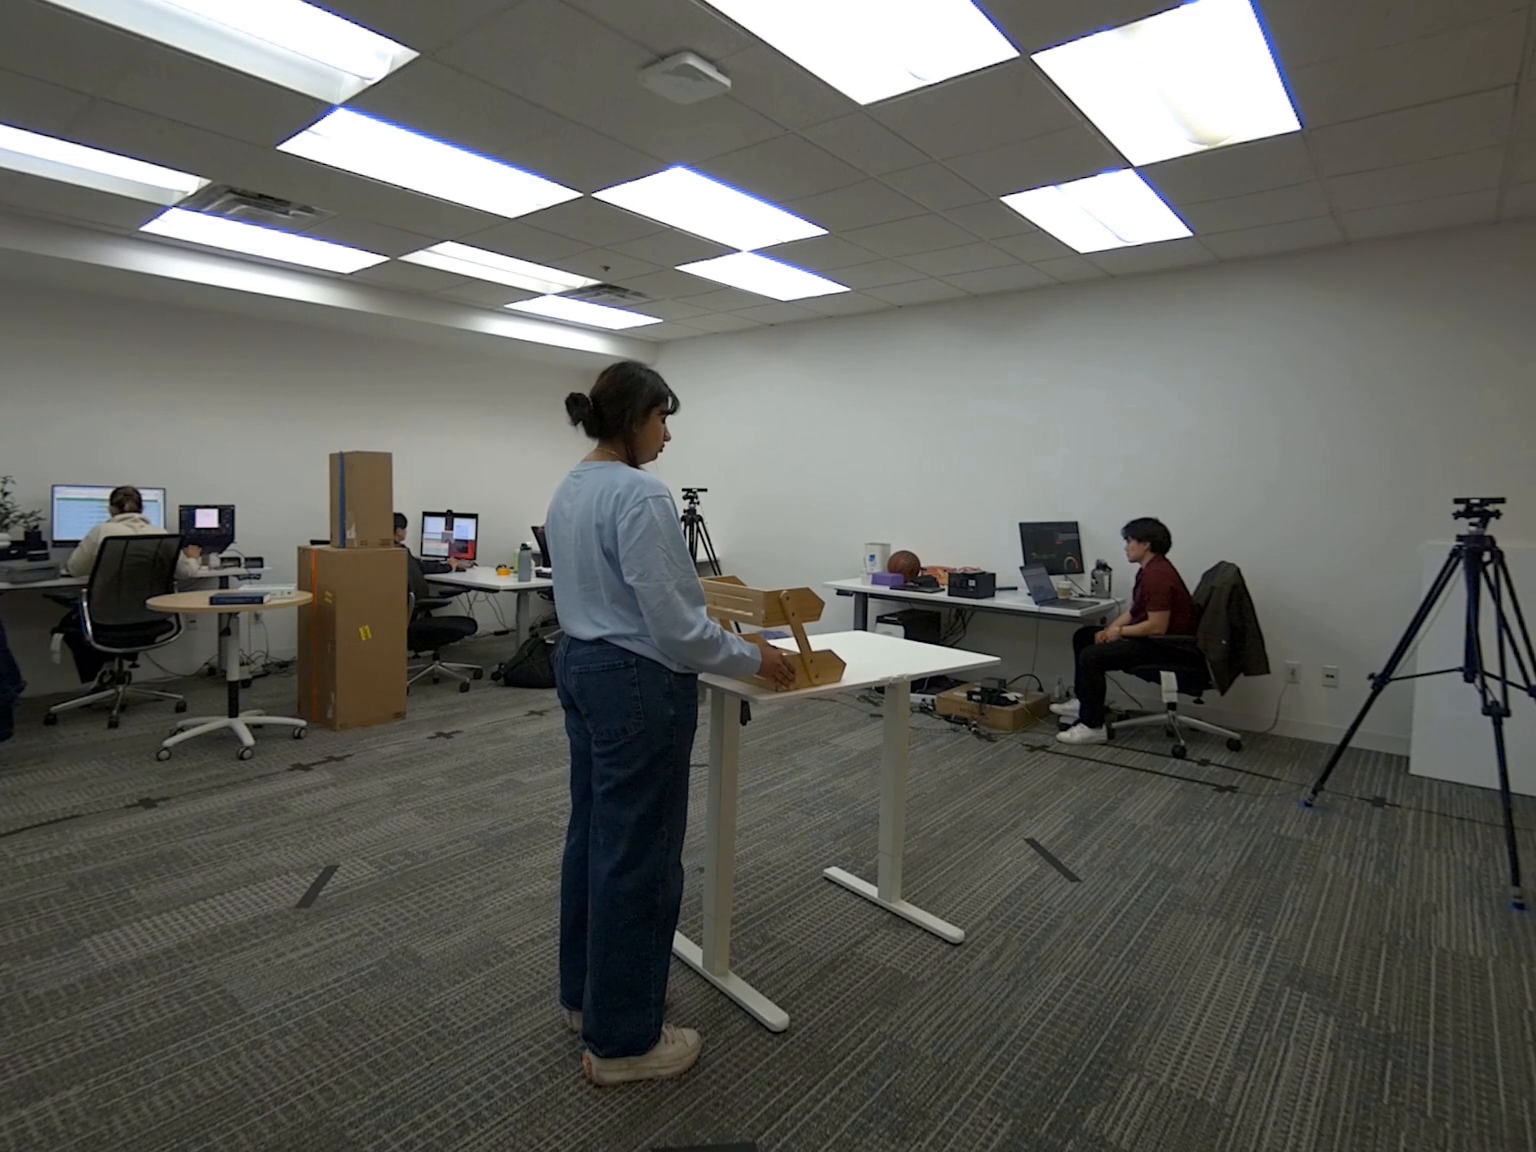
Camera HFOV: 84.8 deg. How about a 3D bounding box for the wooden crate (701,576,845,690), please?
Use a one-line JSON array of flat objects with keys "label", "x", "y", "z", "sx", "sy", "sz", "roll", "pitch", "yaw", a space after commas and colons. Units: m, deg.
[{"label": "wooden crate", "x": -0.005, "y": 0.141, "z": 2.286, "sx": 0.293, "sy": 0.272, "sz": 0.336, "roll": -4, "pitch": 7, "yaw": -41}]
